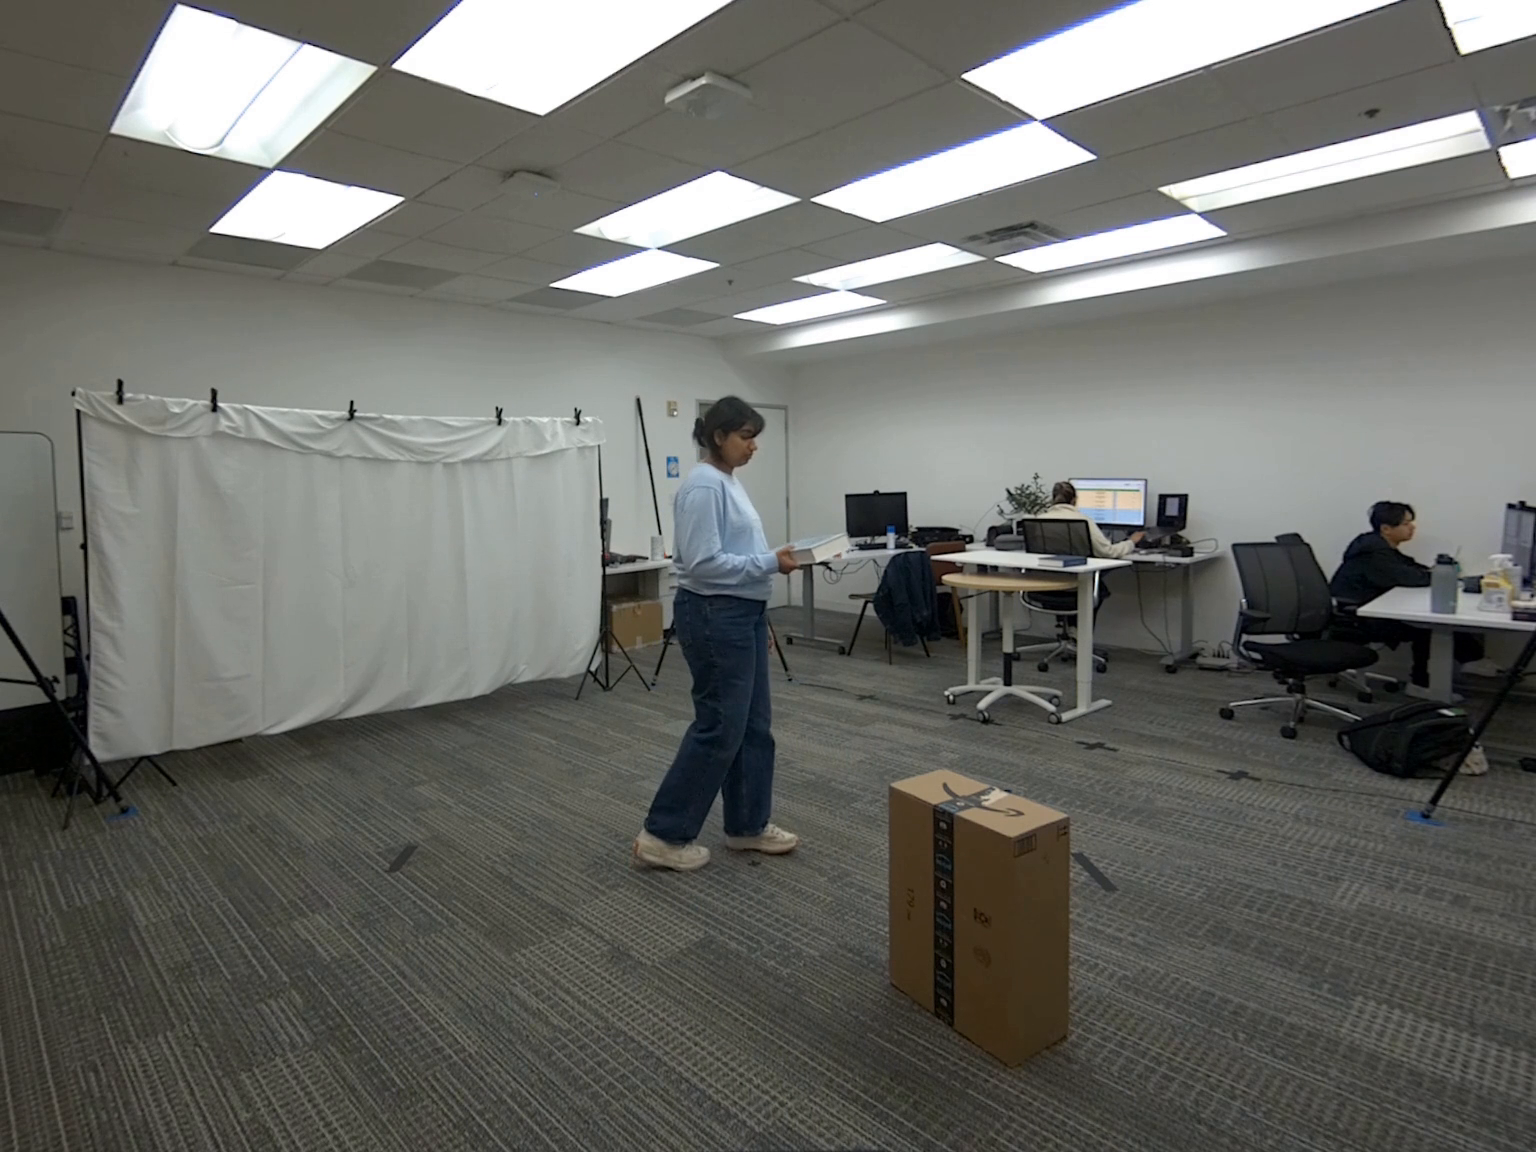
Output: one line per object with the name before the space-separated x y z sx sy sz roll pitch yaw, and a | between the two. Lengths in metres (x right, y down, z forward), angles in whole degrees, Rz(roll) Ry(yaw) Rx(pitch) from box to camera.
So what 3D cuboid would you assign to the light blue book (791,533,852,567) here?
light blue book | 0.139 -0.087 3.043 0.188 0.058 0.267 -23 11 -36
